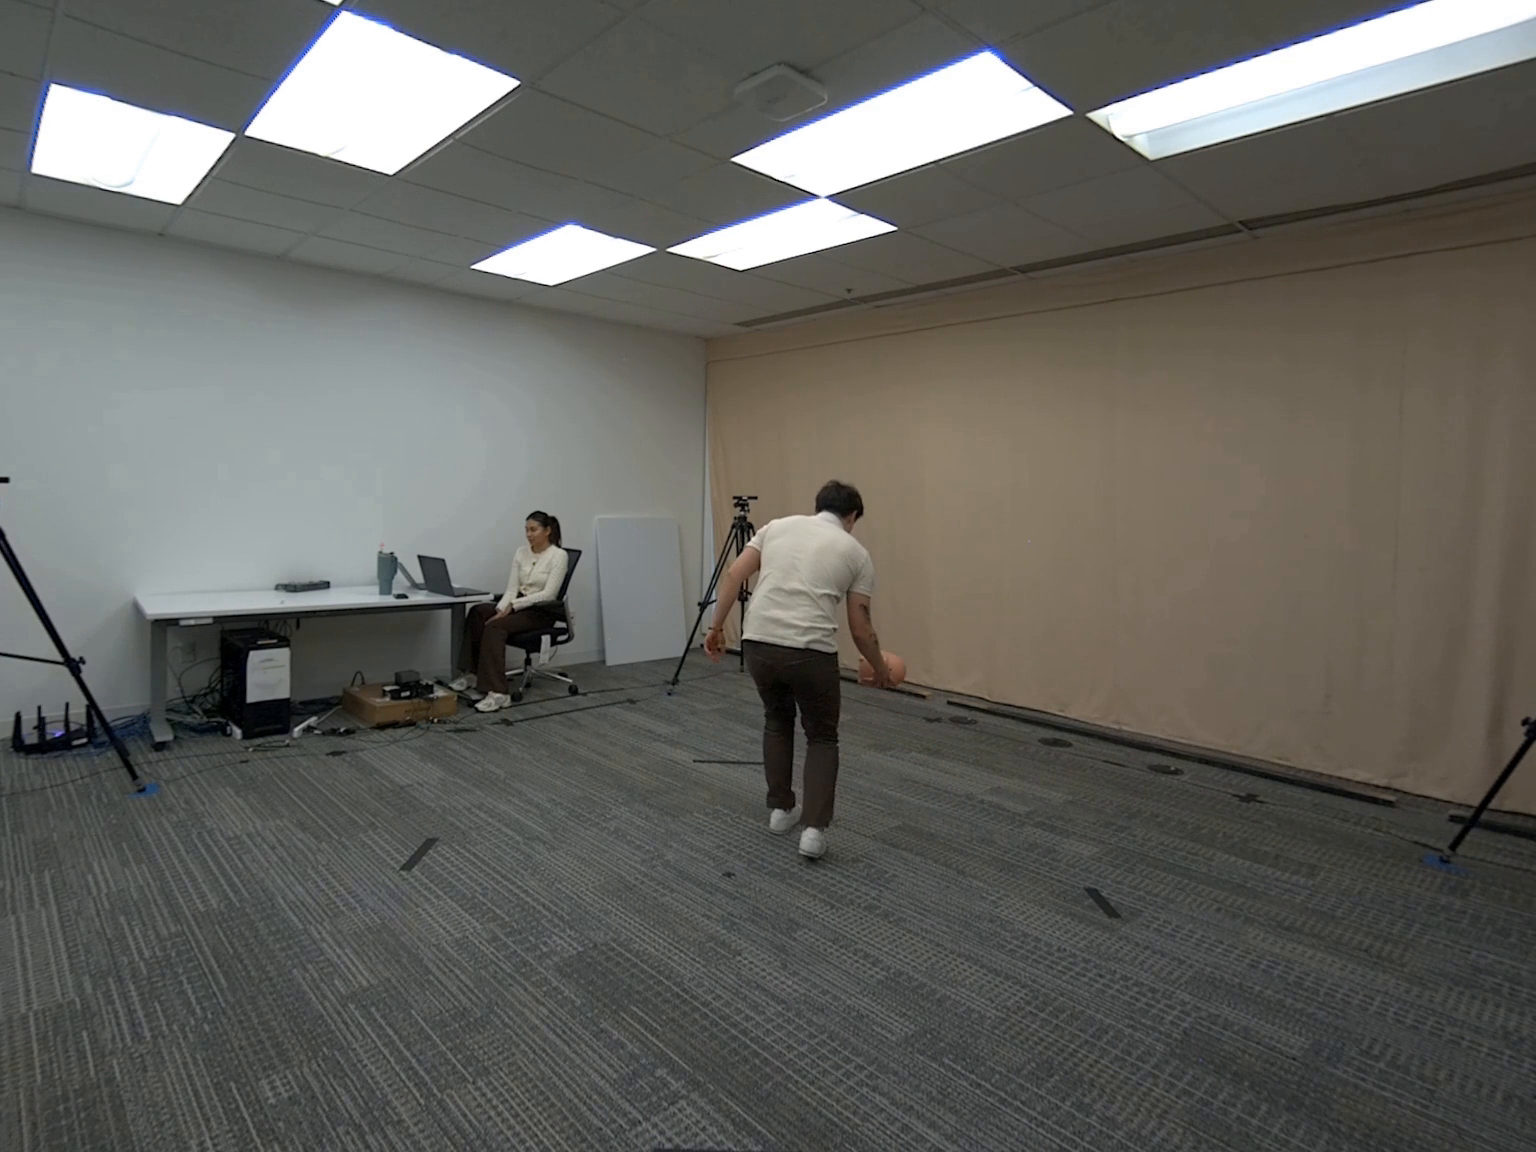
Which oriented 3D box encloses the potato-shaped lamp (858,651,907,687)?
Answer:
[{"bbox_3d":[0.492,0.416,3.701,0.201,0.164,0.169,5,7,21],"label":"potato-shaped lamp"}]
